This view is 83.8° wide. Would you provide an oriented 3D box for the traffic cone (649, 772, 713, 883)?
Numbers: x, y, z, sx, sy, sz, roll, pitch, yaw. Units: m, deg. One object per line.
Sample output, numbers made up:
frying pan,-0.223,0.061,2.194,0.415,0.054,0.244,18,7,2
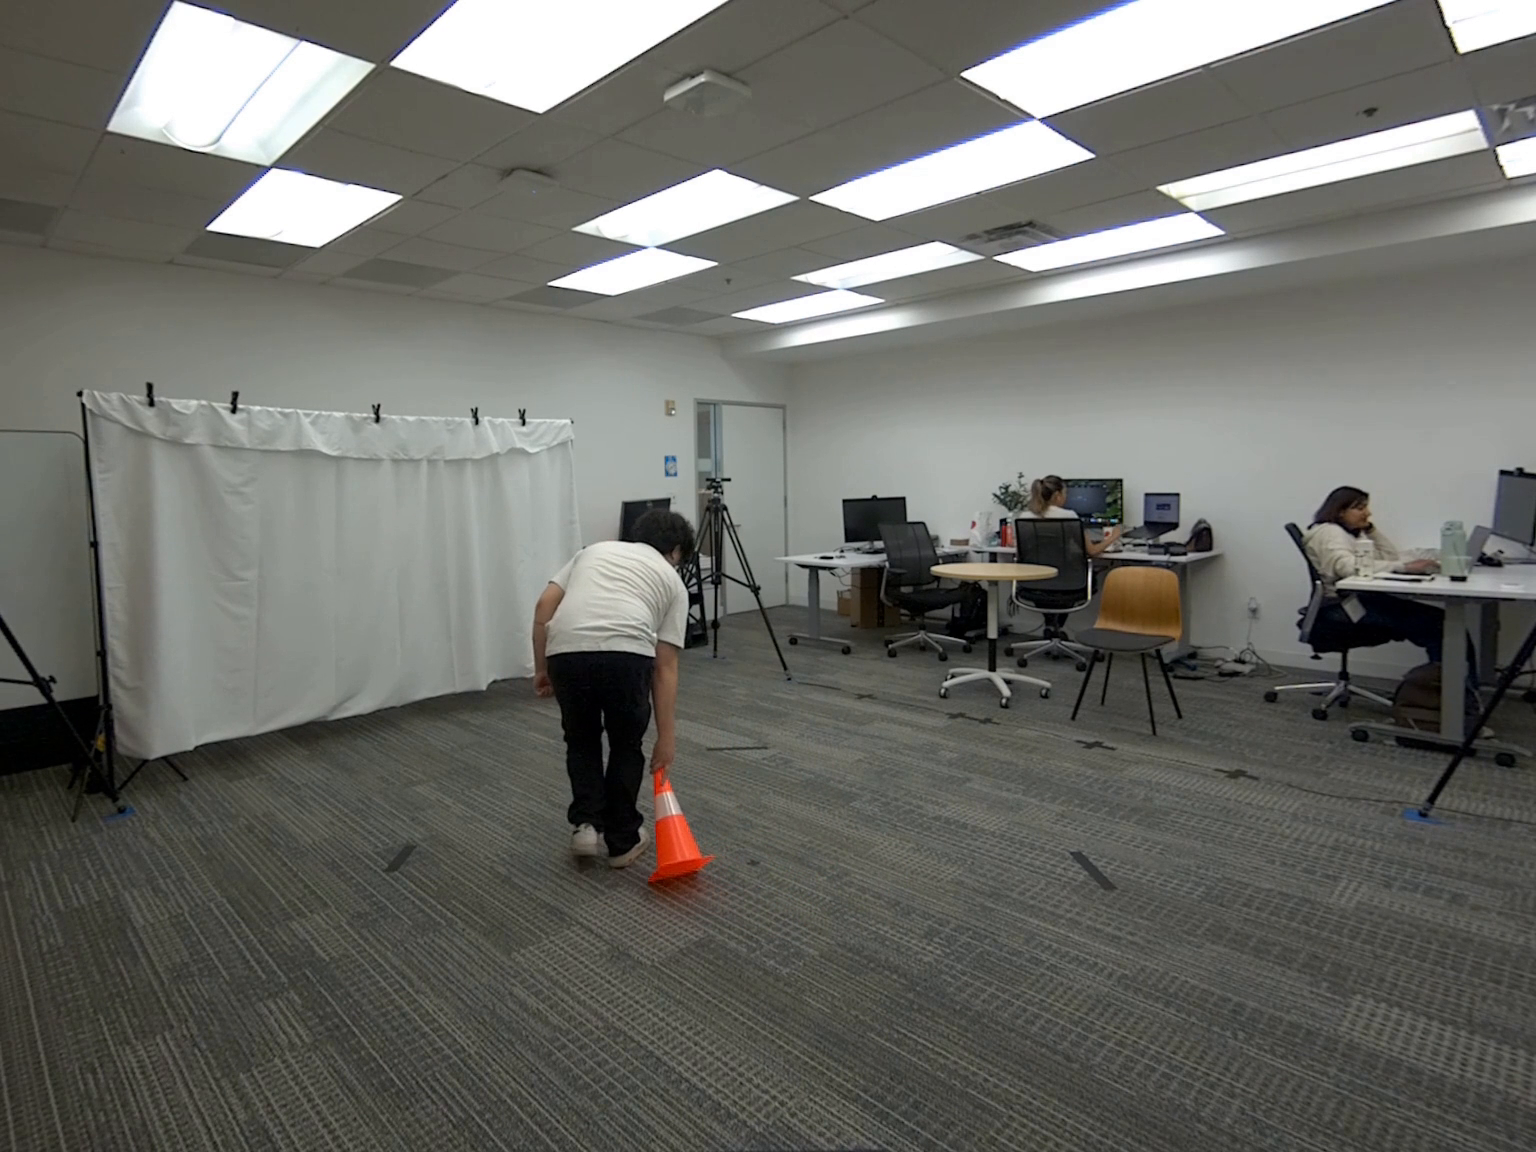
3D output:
traffic cone,-0.348,0.846,3.029,0.201,0.395,0.201,-1,-33,-24
